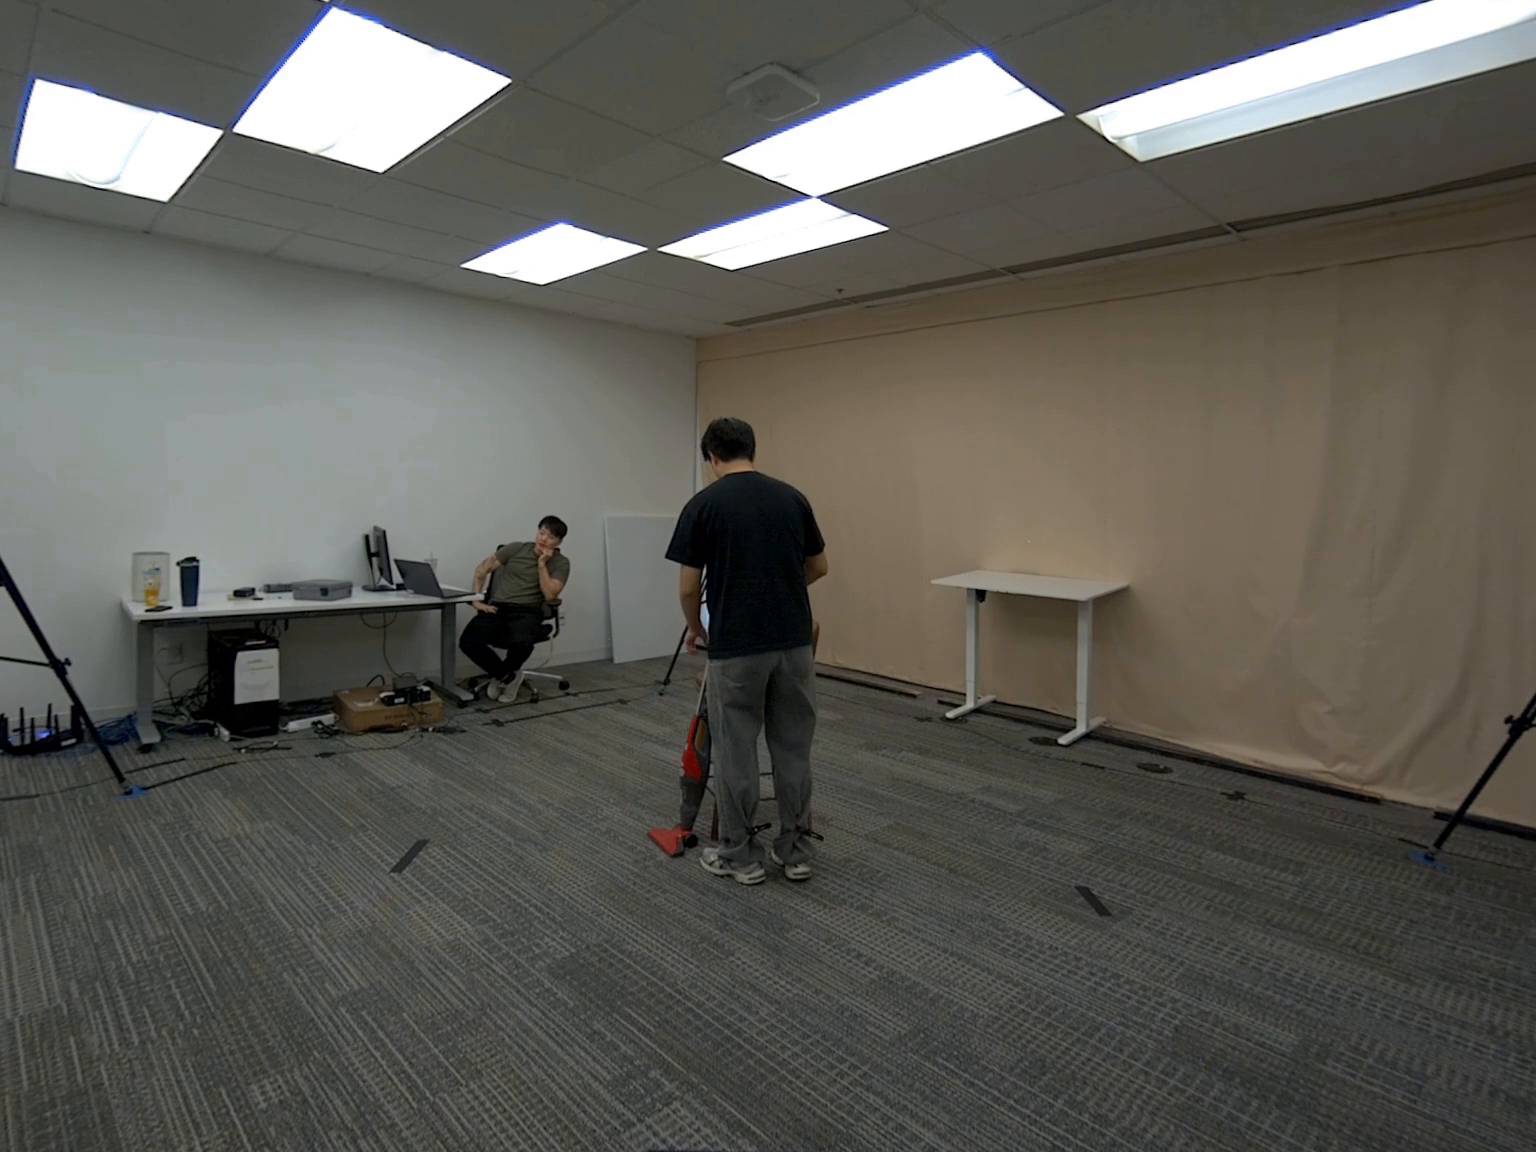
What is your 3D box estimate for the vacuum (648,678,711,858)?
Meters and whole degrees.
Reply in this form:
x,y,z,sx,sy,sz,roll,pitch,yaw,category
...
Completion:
x,y,z,sx,sy,sz,roll,pitch,yaw,category
-0.257,0.565,3.418,0.140,1.051,0.258,15,-5,-33,vacuum
